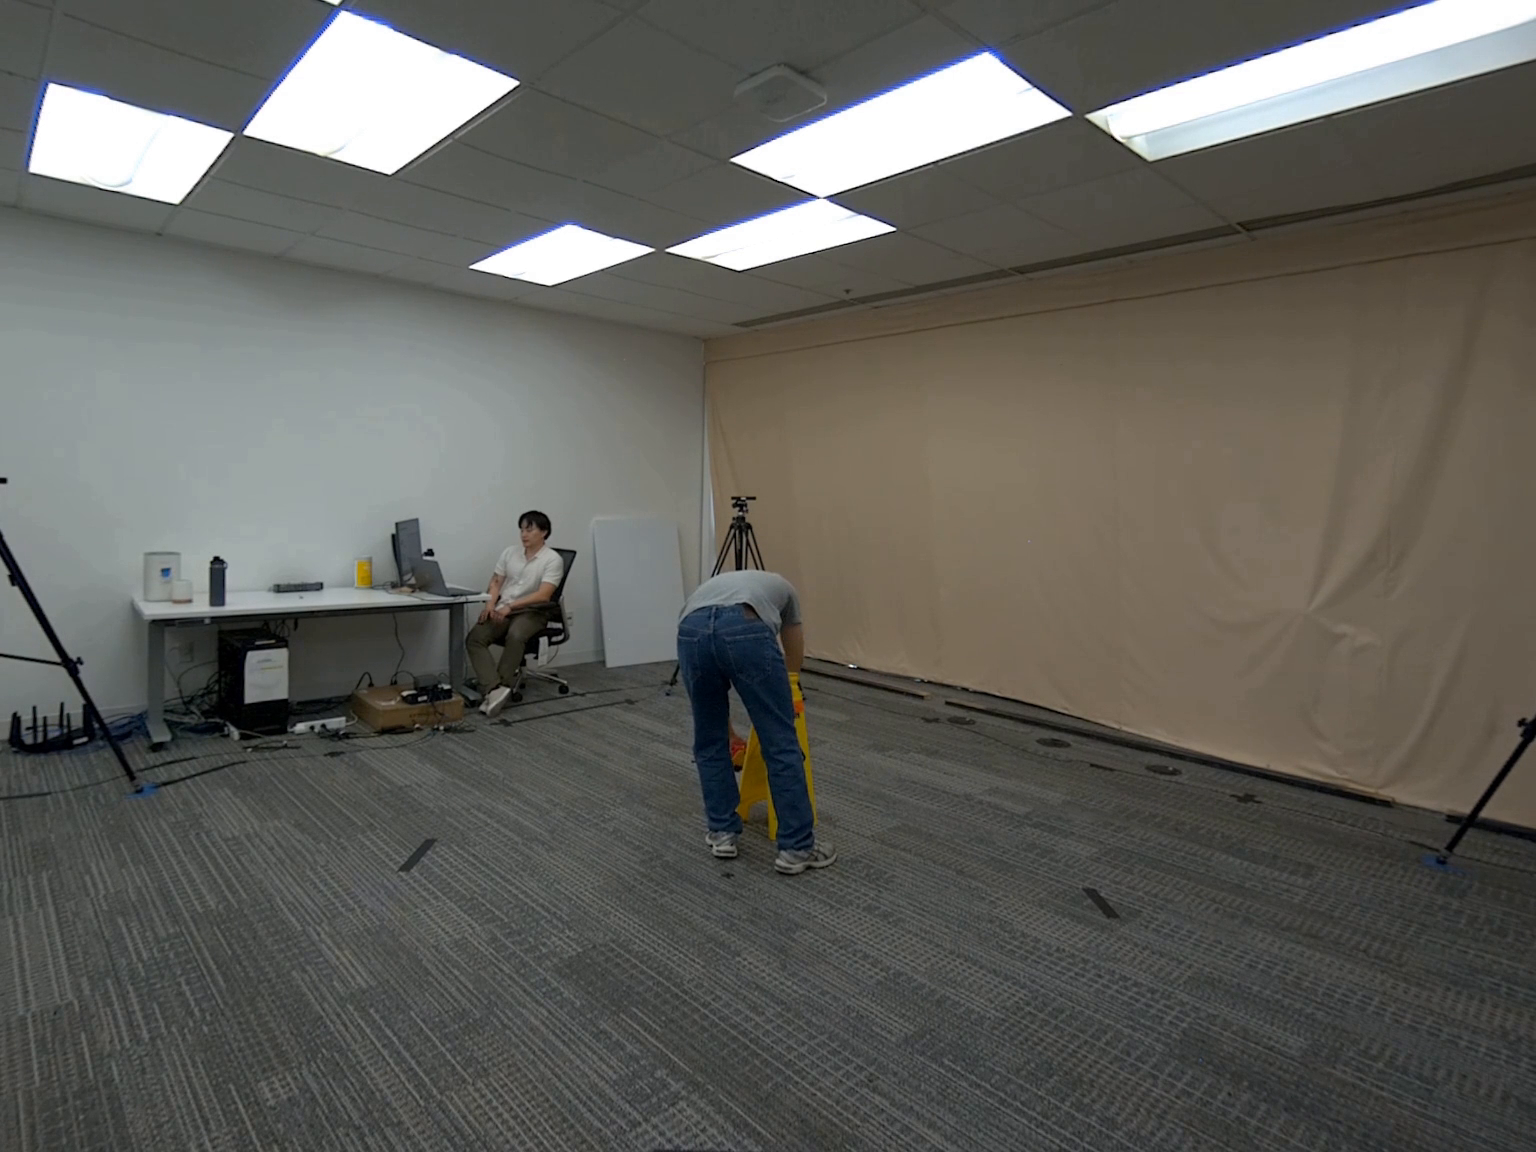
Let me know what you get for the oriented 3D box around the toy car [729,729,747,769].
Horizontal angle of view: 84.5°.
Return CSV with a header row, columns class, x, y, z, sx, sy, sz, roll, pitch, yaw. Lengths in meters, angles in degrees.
class,x,y,z,sx,sy,sz,roll,pitch,yaw
toy car,-0.085,0.795,3.680,0.247,0.130,0.086,26,15,-39
